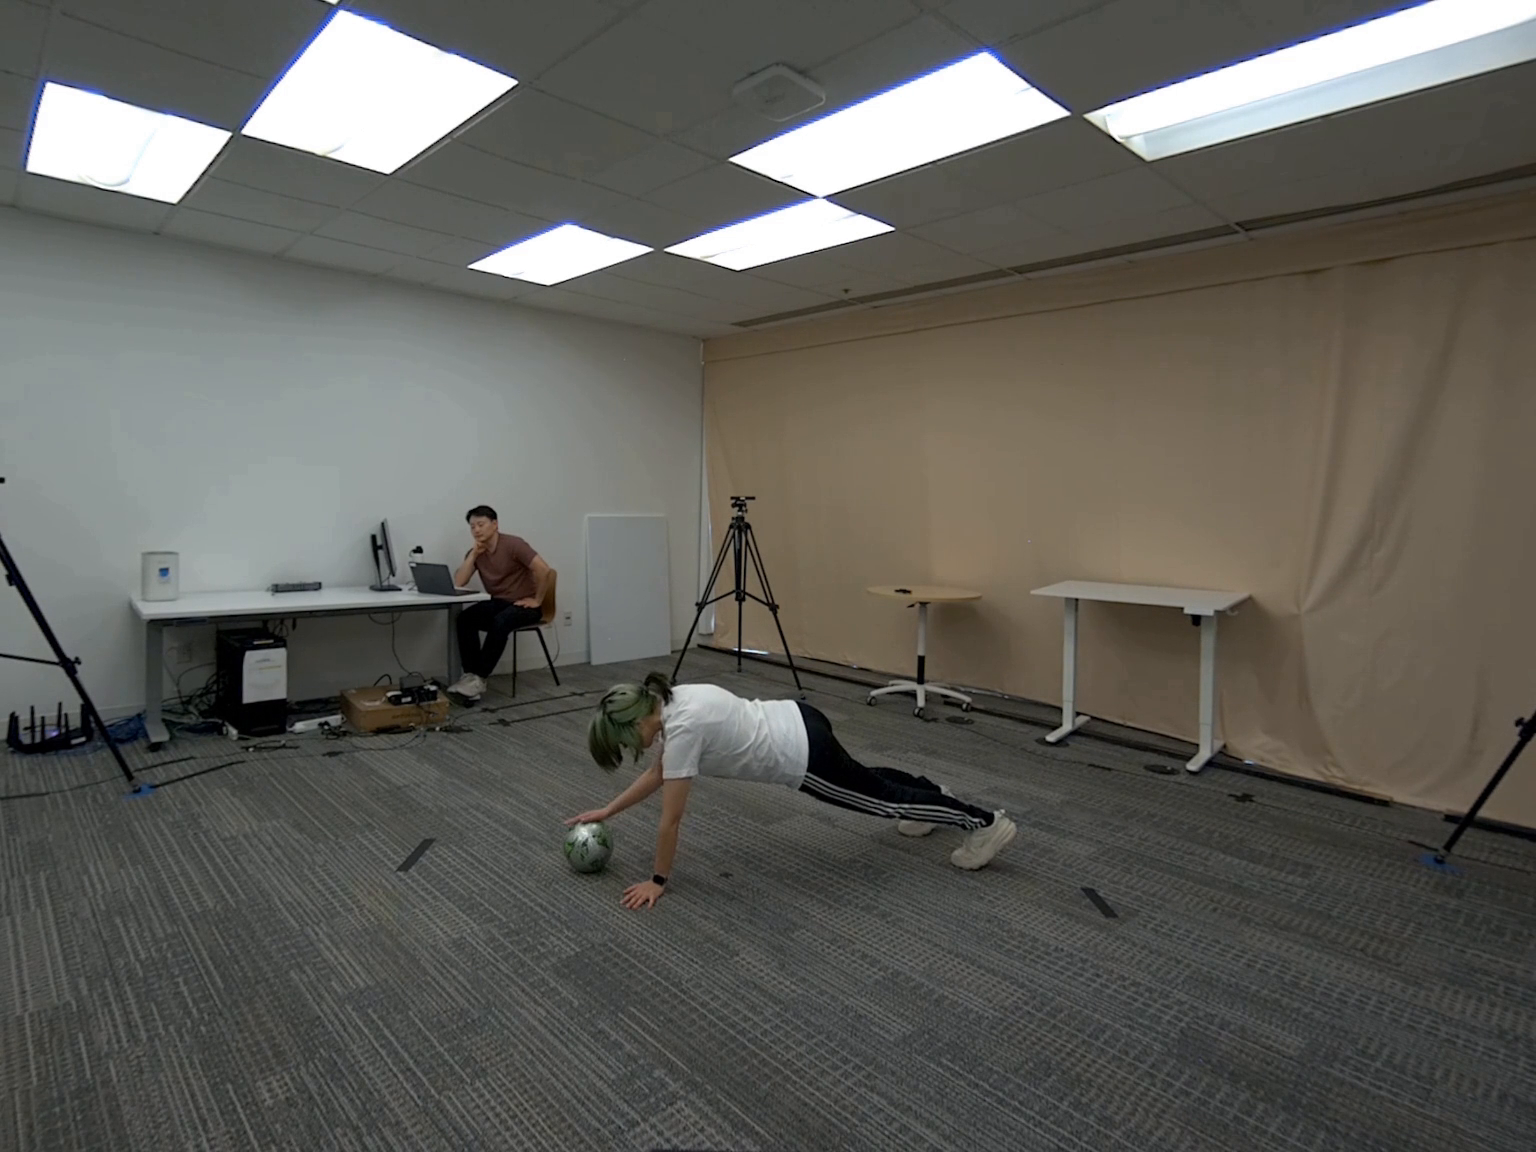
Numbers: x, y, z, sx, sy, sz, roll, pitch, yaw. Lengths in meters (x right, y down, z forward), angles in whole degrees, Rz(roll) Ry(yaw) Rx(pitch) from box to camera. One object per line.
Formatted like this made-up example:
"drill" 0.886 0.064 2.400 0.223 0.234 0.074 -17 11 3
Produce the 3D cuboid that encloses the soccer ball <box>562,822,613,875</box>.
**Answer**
"soccer ball" -0.654 0.992 3.130 0.187 0.187 0.188 1 4 -1
